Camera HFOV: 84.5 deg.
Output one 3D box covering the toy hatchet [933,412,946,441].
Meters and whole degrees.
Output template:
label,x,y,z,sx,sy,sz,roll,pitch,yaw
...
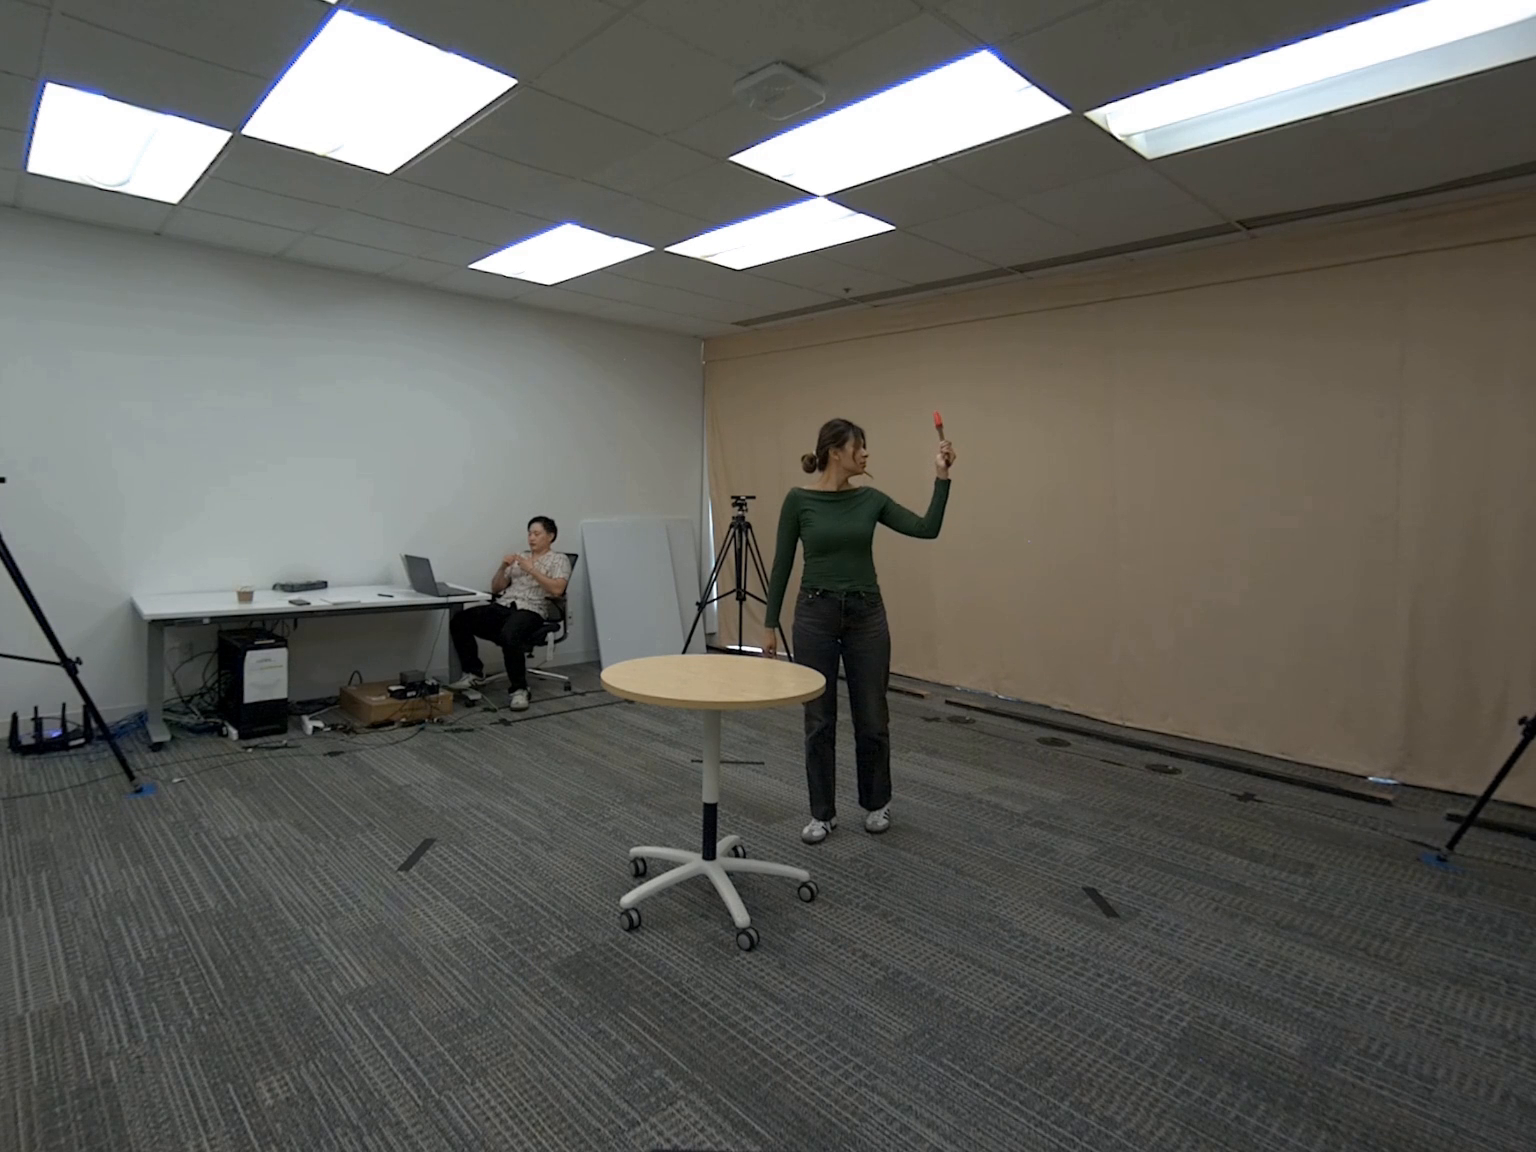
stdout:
label,x,y,z,sx,sy,sz,roll,pitch,yaw
toy hatchet,0.678,-0.563,3.372,0.030,0.127,0.275,-8,41,11
